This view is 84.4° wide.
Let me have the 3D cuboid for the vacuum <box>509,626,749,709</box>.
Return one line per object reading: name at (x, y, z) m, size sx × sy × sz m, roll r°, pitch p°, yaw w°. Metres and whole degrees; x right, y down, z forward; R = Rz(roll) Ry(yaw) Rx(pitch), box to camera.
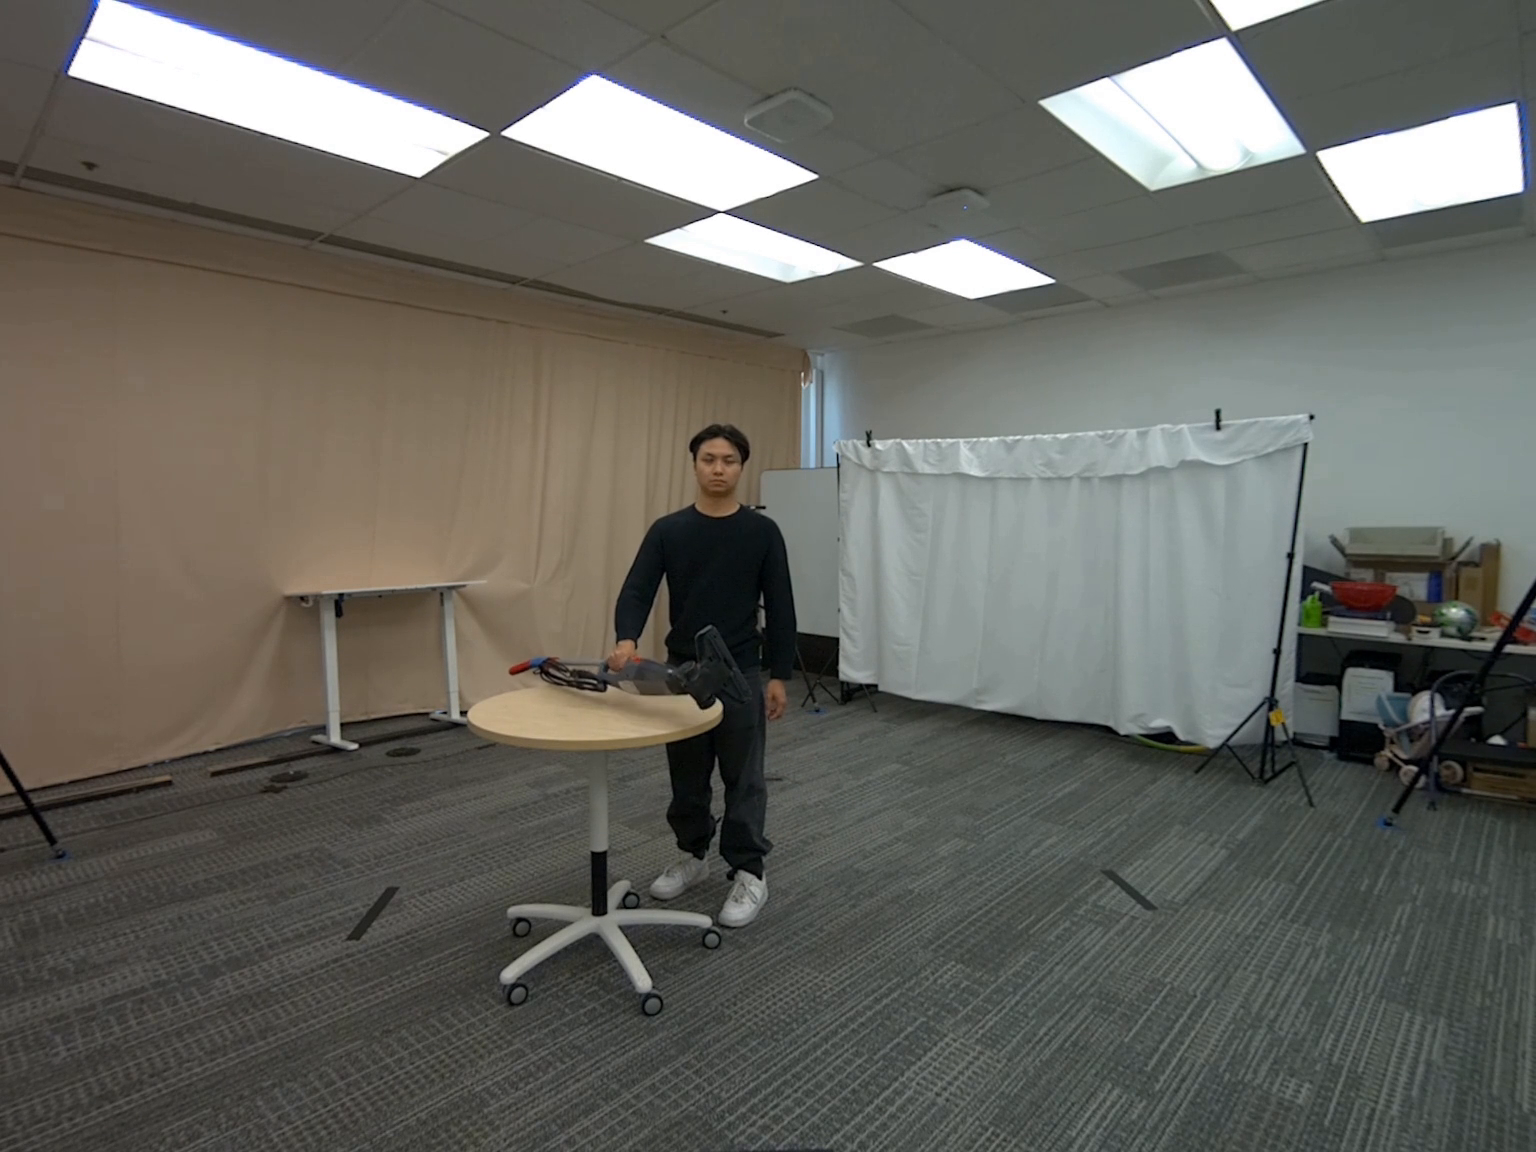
vacuum at (-0.534, 0.313, 2.668) m, size 1.081 × 0.248 × 0.142 m, roll -6°, pitch 28°, yaw 42°
